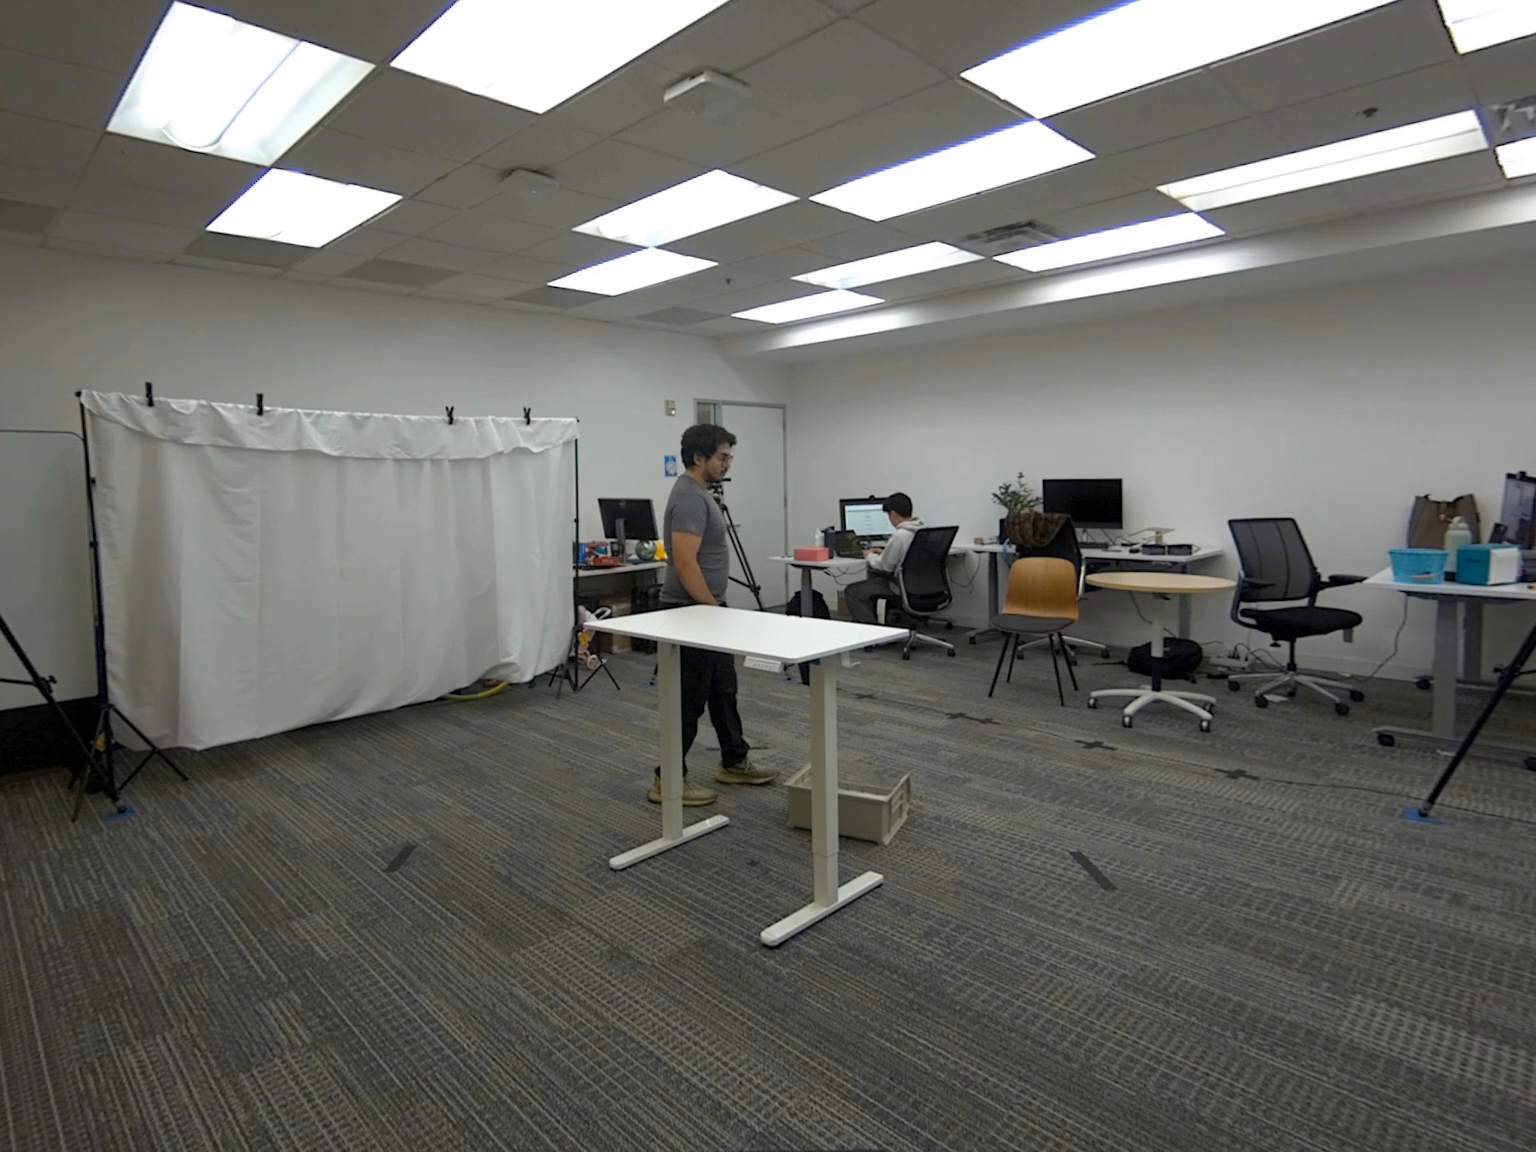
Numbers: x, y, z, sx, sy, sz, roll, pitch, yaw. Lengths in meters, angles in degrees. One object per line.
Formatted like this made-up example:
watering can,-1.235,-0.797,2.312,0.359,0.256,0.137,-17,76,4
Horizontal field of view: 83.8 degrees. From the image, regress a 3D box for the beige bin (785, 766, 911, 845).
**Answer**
beige bin,0.328,0.906,3.474,0.432,0.188,0.370,2,7,26
